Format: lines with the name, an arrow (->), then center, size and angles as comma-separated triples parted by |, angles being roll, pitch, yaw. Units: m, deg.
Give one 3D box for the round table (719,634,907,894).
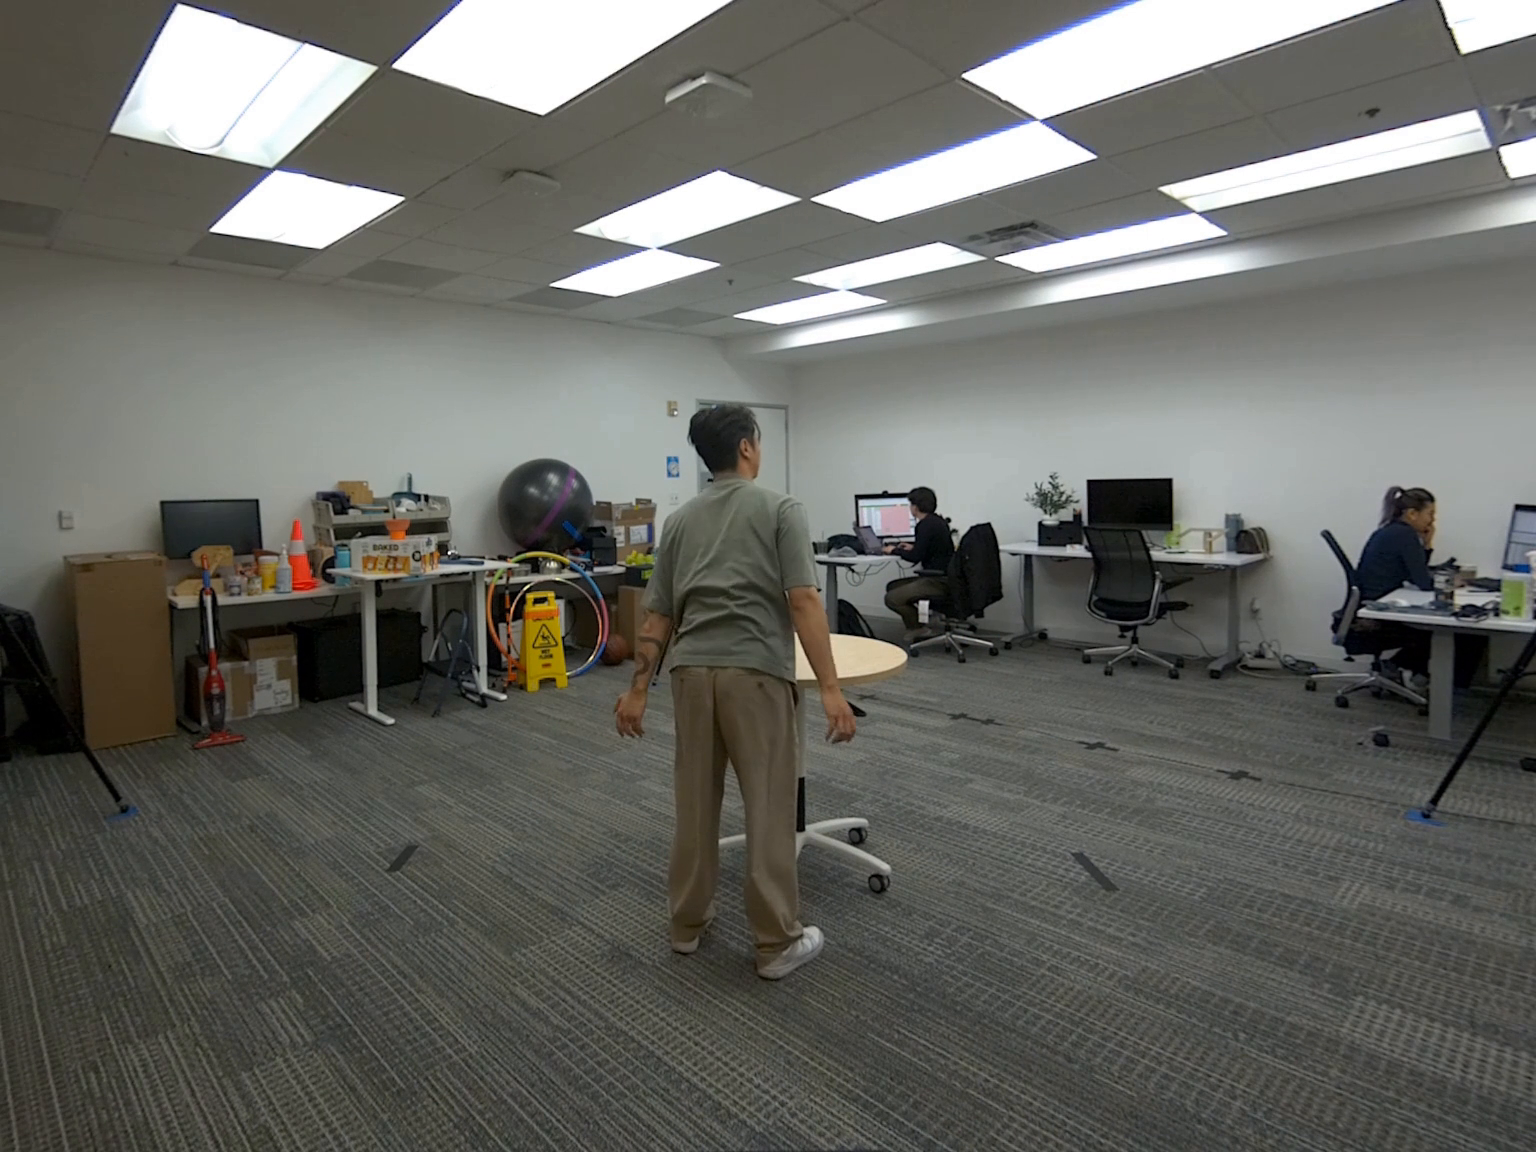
round table -> 0.098, 0.659, 3.045 | 0.784, 0.783, 0.790 | -1, 6, -2
